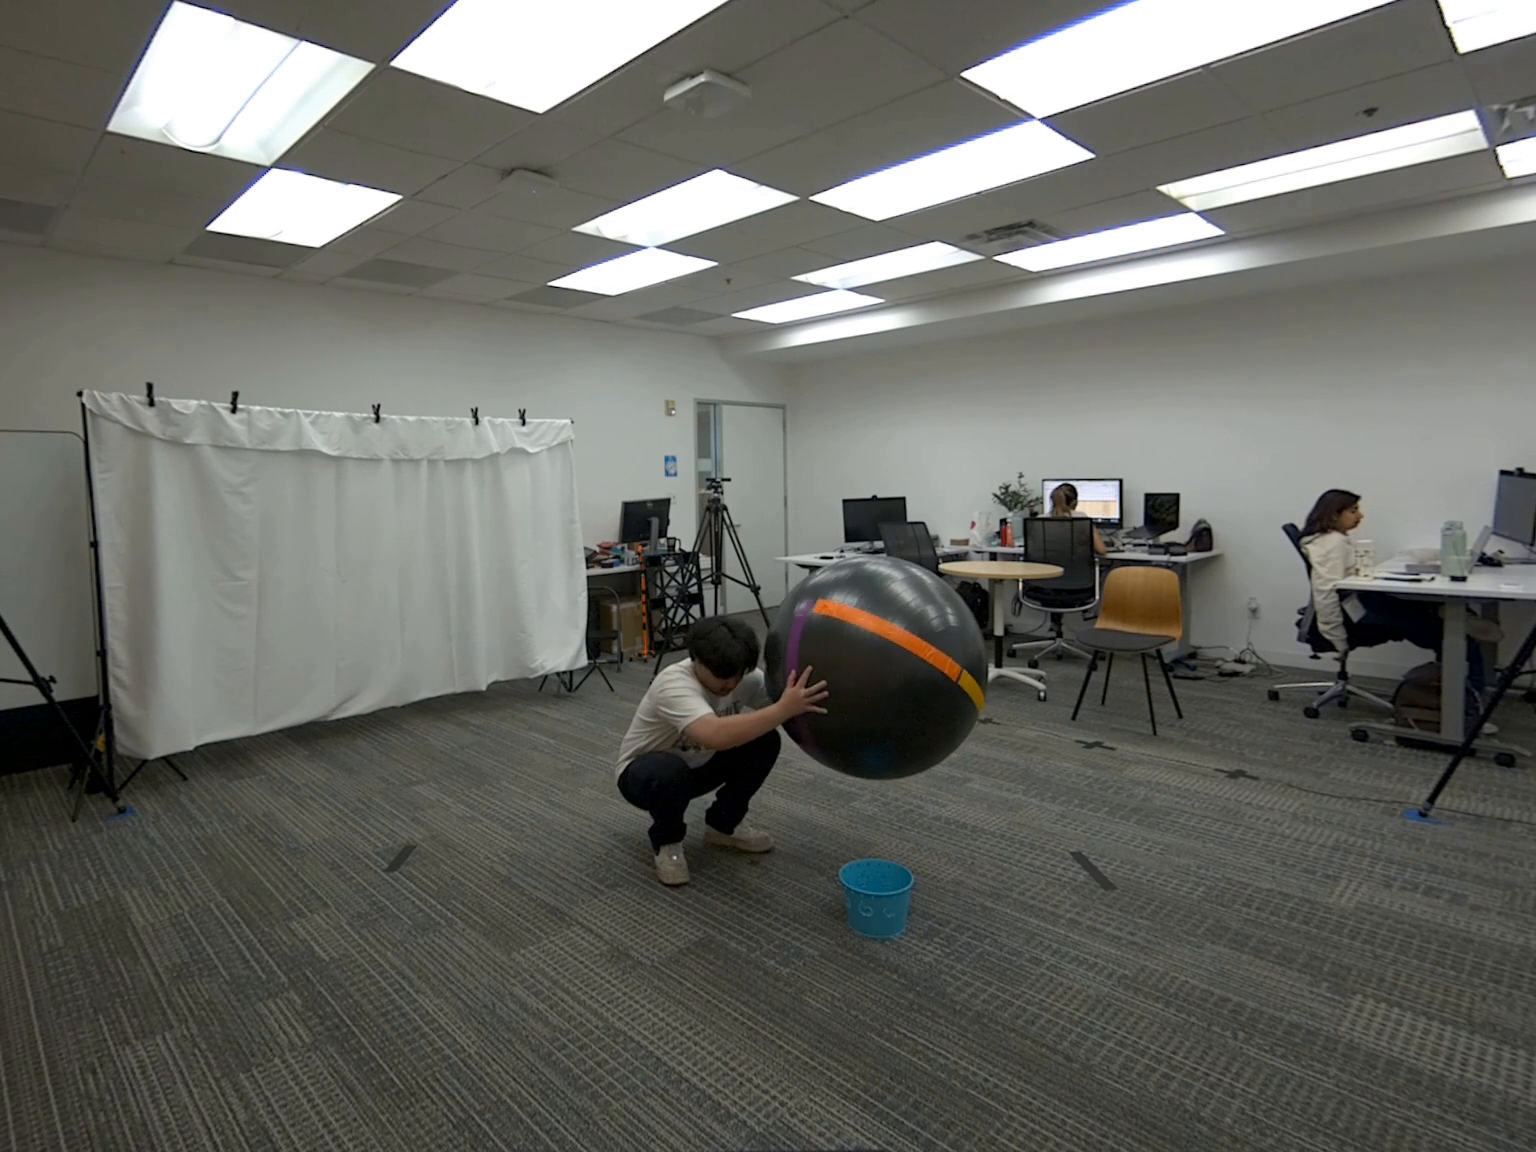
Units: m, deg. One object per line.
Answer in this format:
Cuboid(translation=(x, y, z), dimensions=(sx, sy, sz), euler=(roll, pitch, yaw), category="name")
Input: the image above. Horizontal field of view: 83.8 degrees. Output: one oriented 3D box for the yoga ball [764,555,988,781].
Cuboid(translation=(0.371, 0.316, 2.951), dimensions=(0.757, 0.755, 0.762), euler=(-1, 5, -2), category="yoga ball")
